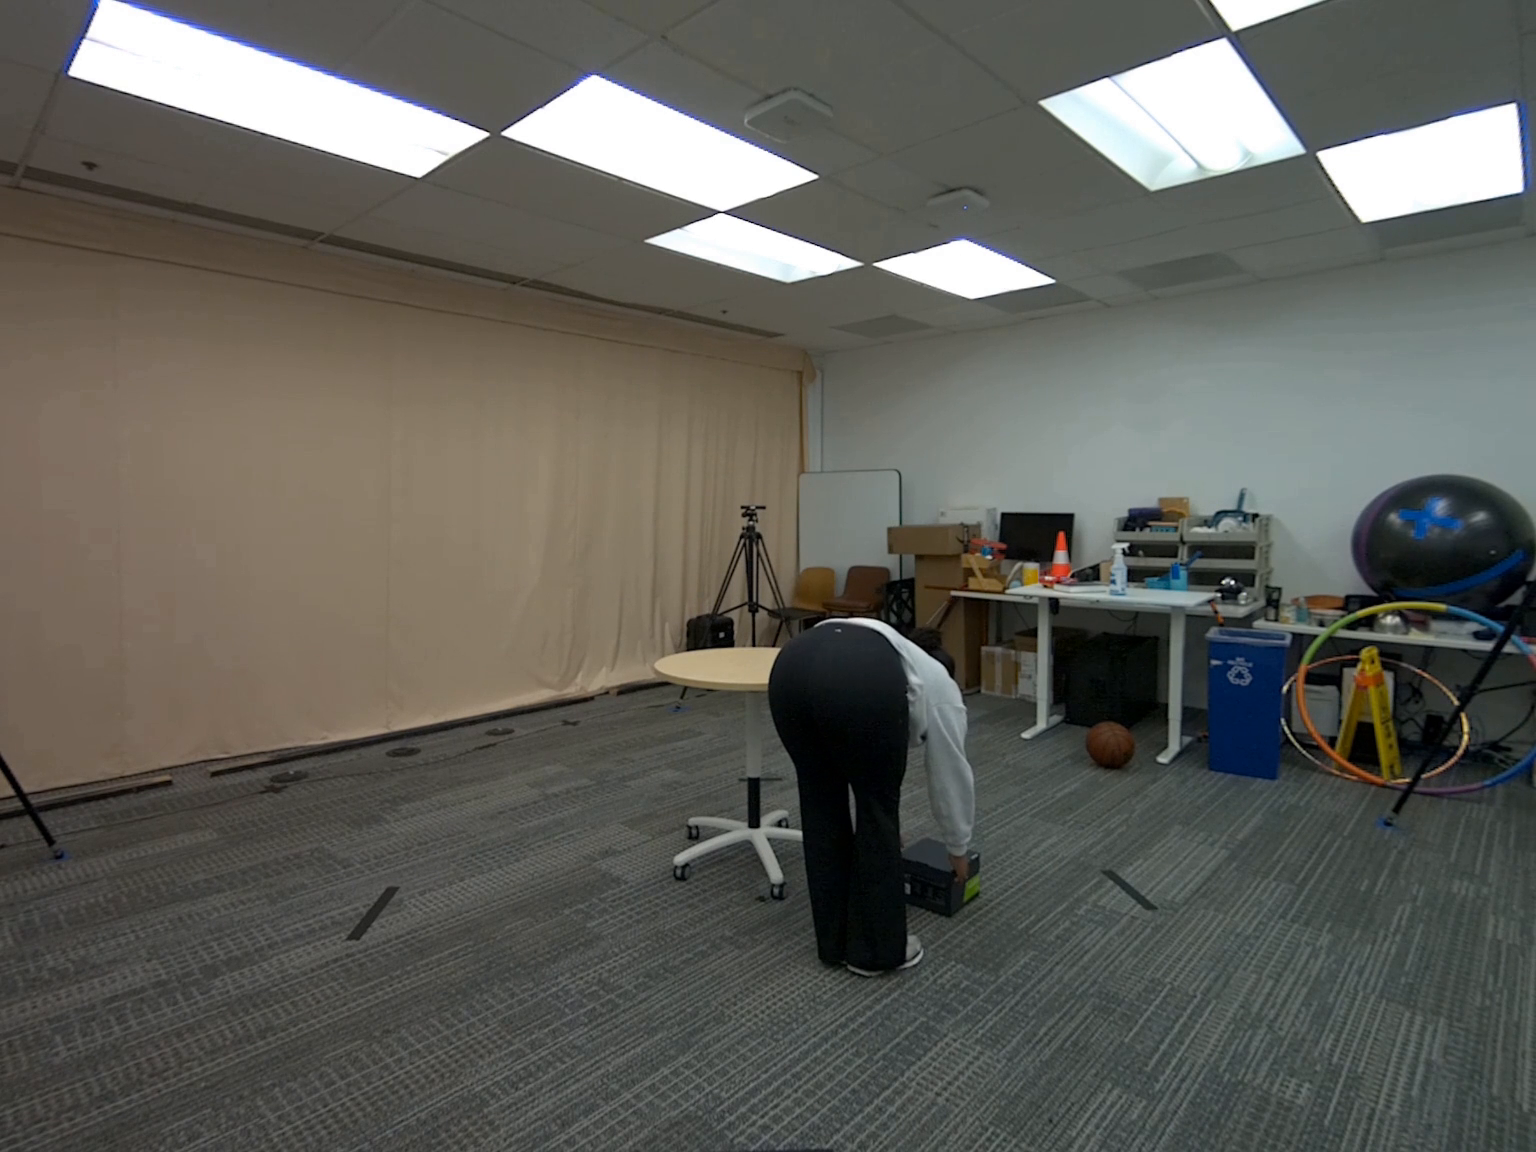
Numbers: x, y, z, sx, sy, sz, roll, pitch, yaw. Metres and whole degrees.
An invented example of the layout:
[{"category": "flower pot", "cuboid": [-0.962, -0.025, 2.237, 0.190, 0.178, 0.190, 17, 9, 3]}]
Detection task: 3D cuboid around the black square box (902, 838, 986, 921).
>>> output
[{"category": "black square box", "cuboid": [0.610, 1.058, 2.982, 0.224, 0.155, 0.221, 3, 5, 41]}]
